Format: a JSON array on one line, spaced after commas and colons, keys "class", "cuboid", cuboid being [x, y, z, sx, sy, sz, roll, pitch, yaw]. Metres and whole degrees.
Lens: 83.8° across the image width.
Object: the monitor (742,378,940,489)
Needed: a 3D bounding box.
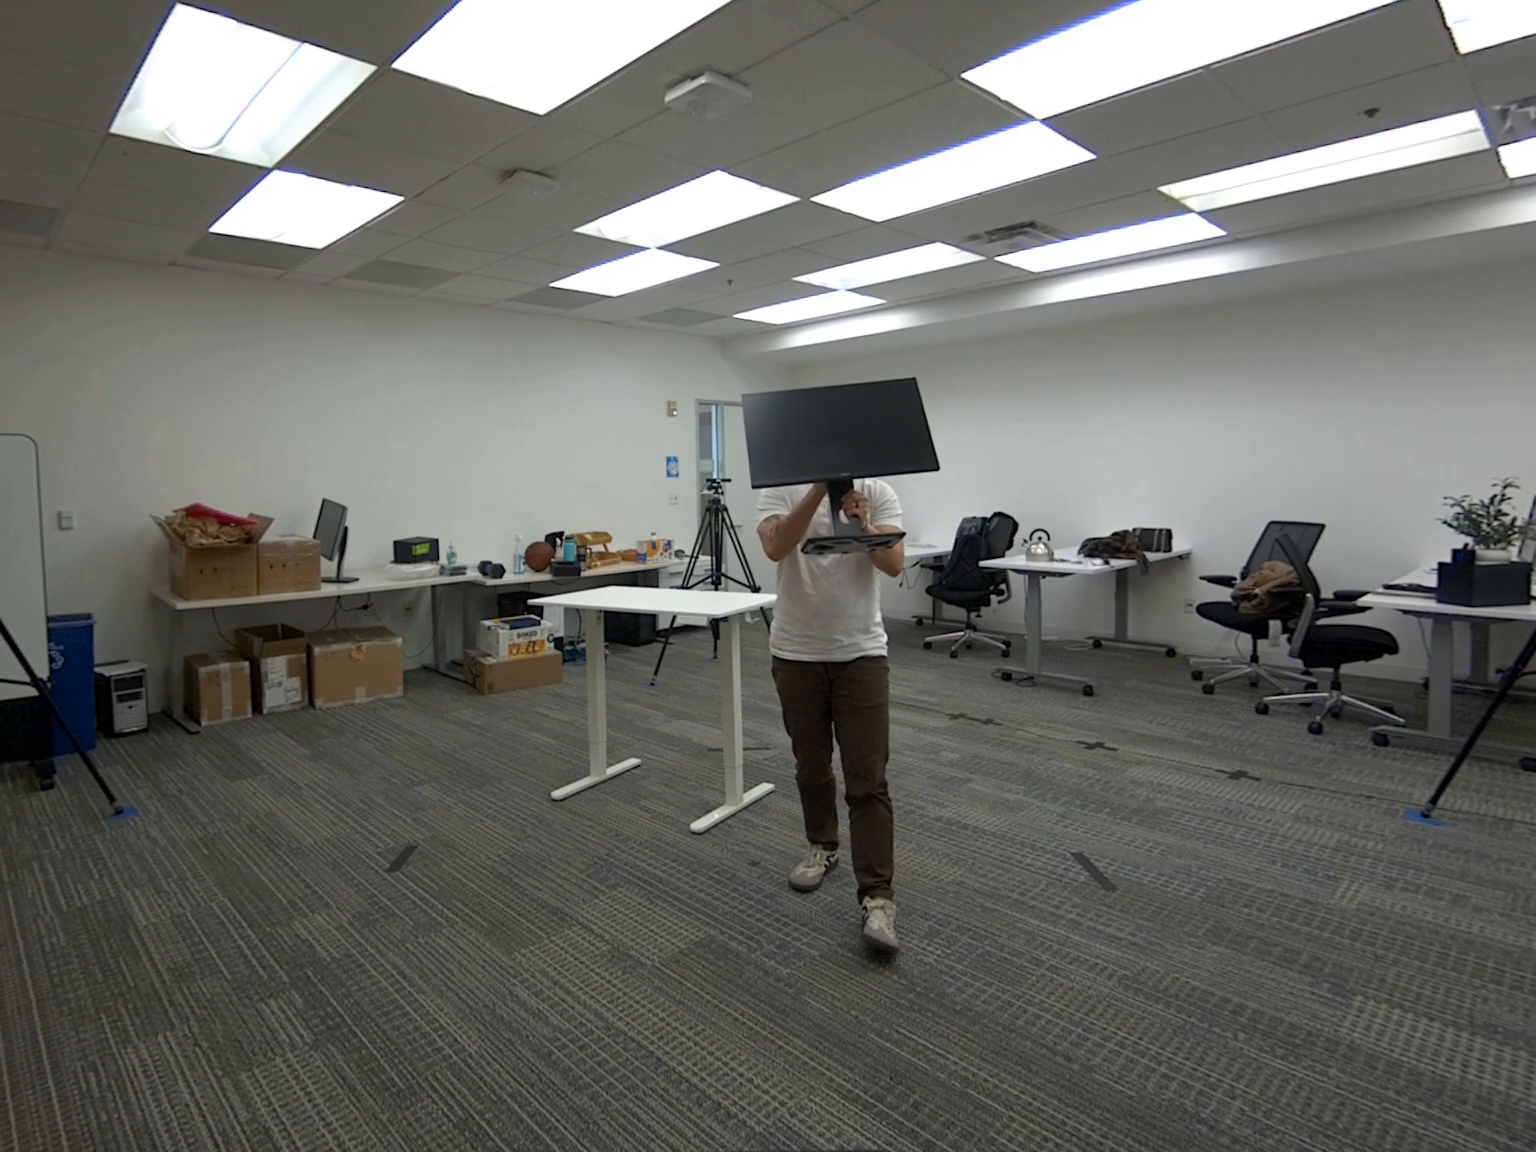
[{"class": "monitor", "cuboid": [0.209, -0.332, 2.511, 0.539, 0.532, 0.184, -5, -18, -1]}]
